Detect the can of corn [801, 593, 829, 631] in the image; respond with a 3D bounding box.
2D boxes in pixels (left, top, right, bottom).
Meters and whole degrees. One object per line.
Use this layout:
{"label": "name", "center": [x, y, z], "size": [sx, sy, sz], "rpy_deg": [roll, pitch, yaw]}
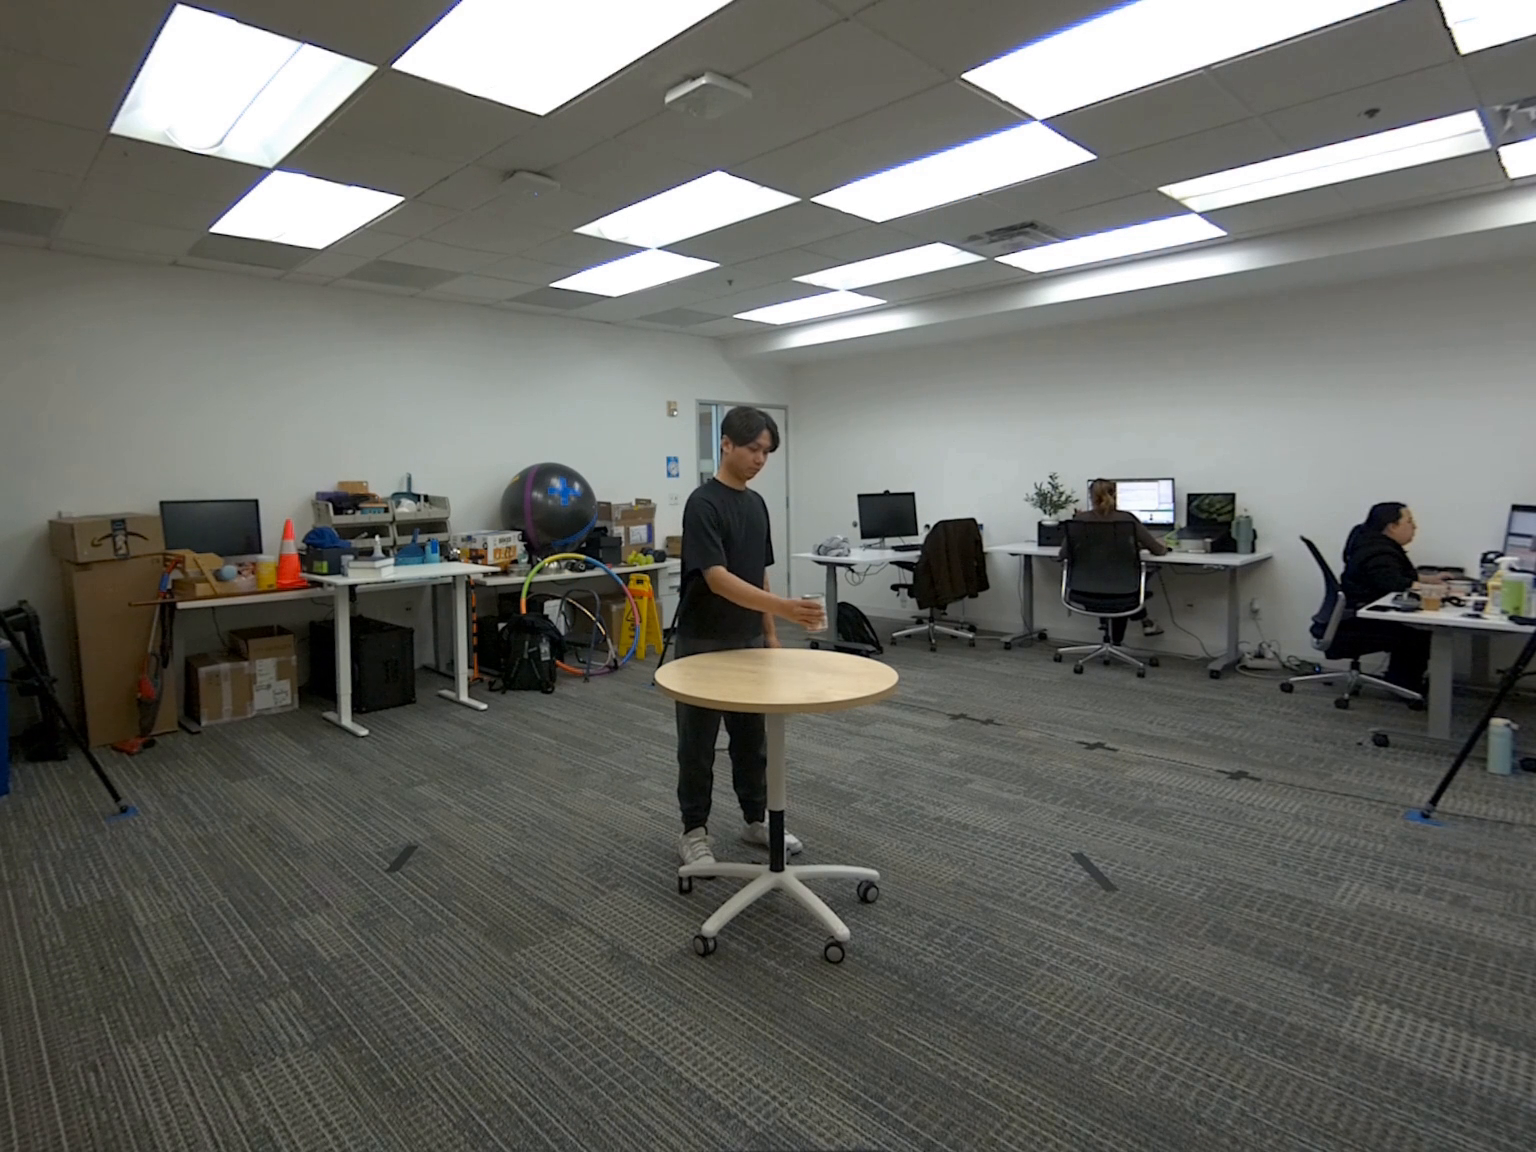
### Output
{"label": "can of corn", "center": [0.132, 0.114, 2.704], "size": [0.074, 0.111, 0.074], "rpy_deg": [-3, 4, -1]}
